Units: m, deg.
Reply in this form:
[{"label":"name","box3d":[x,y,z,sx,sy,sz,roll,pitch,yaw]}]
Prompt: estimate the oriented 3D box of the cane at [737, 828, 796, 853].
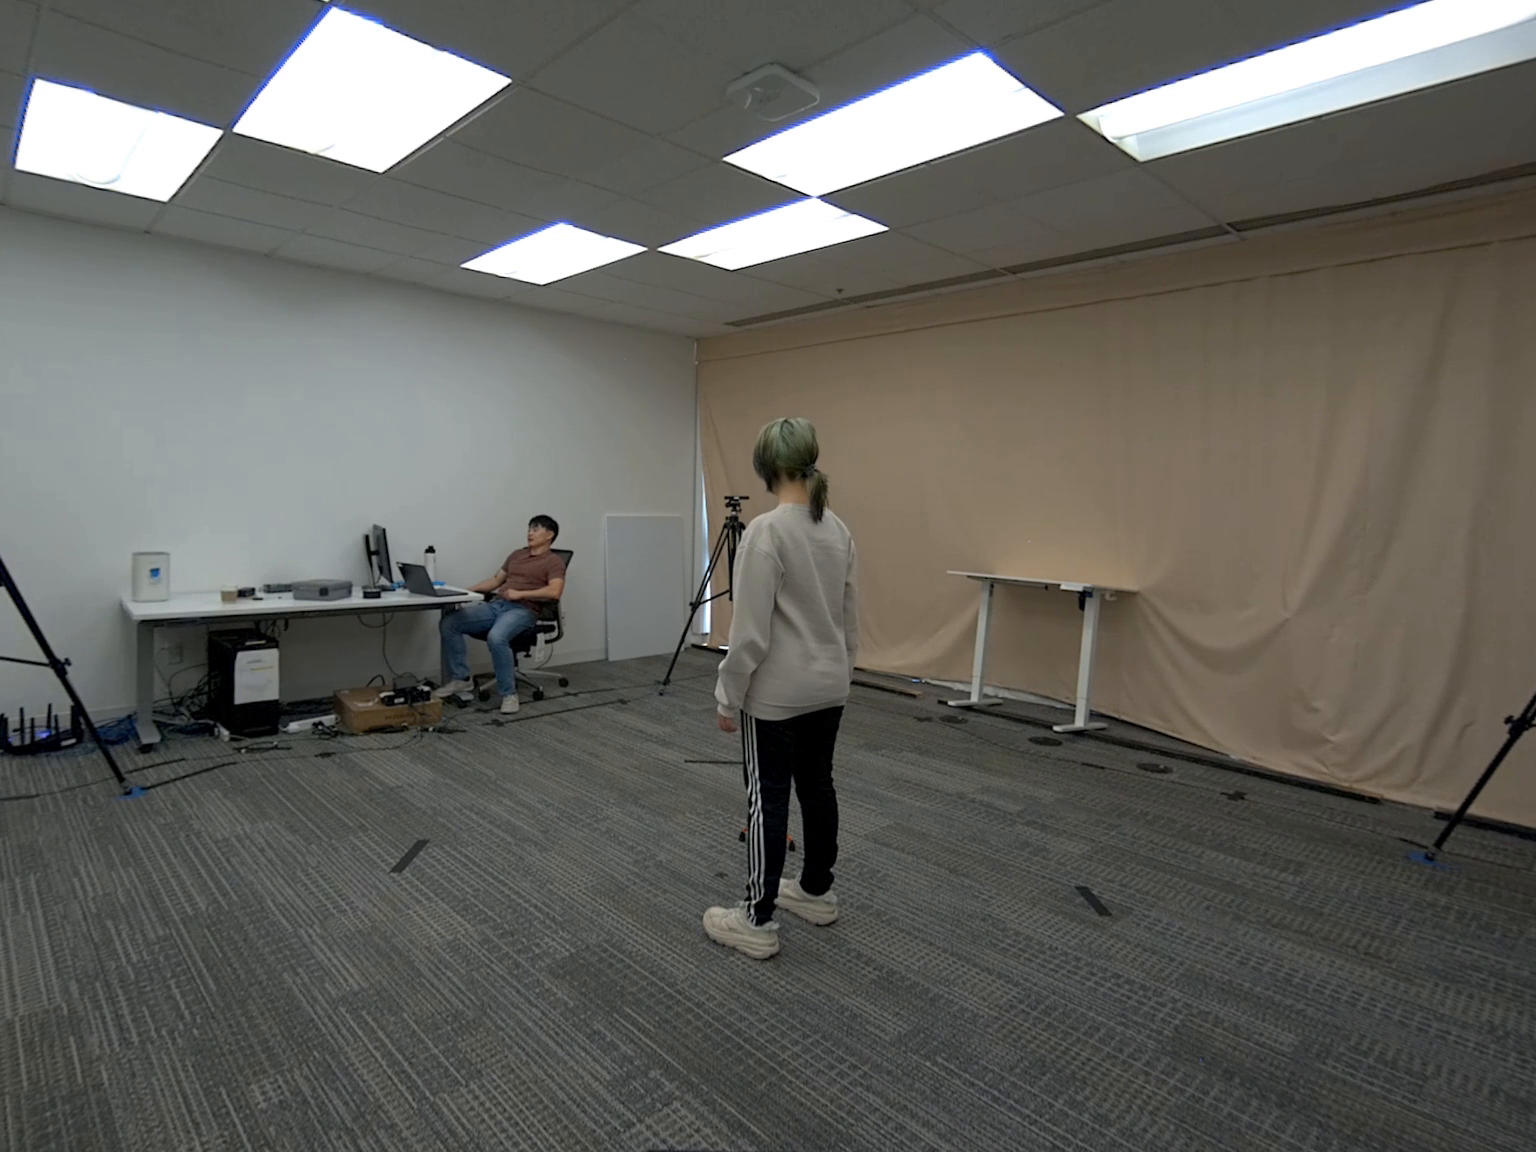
[{"label":"cane","box3d":[0.003,0.631,3.362,0.148,0.906,0.211,0,3,-33]}]
